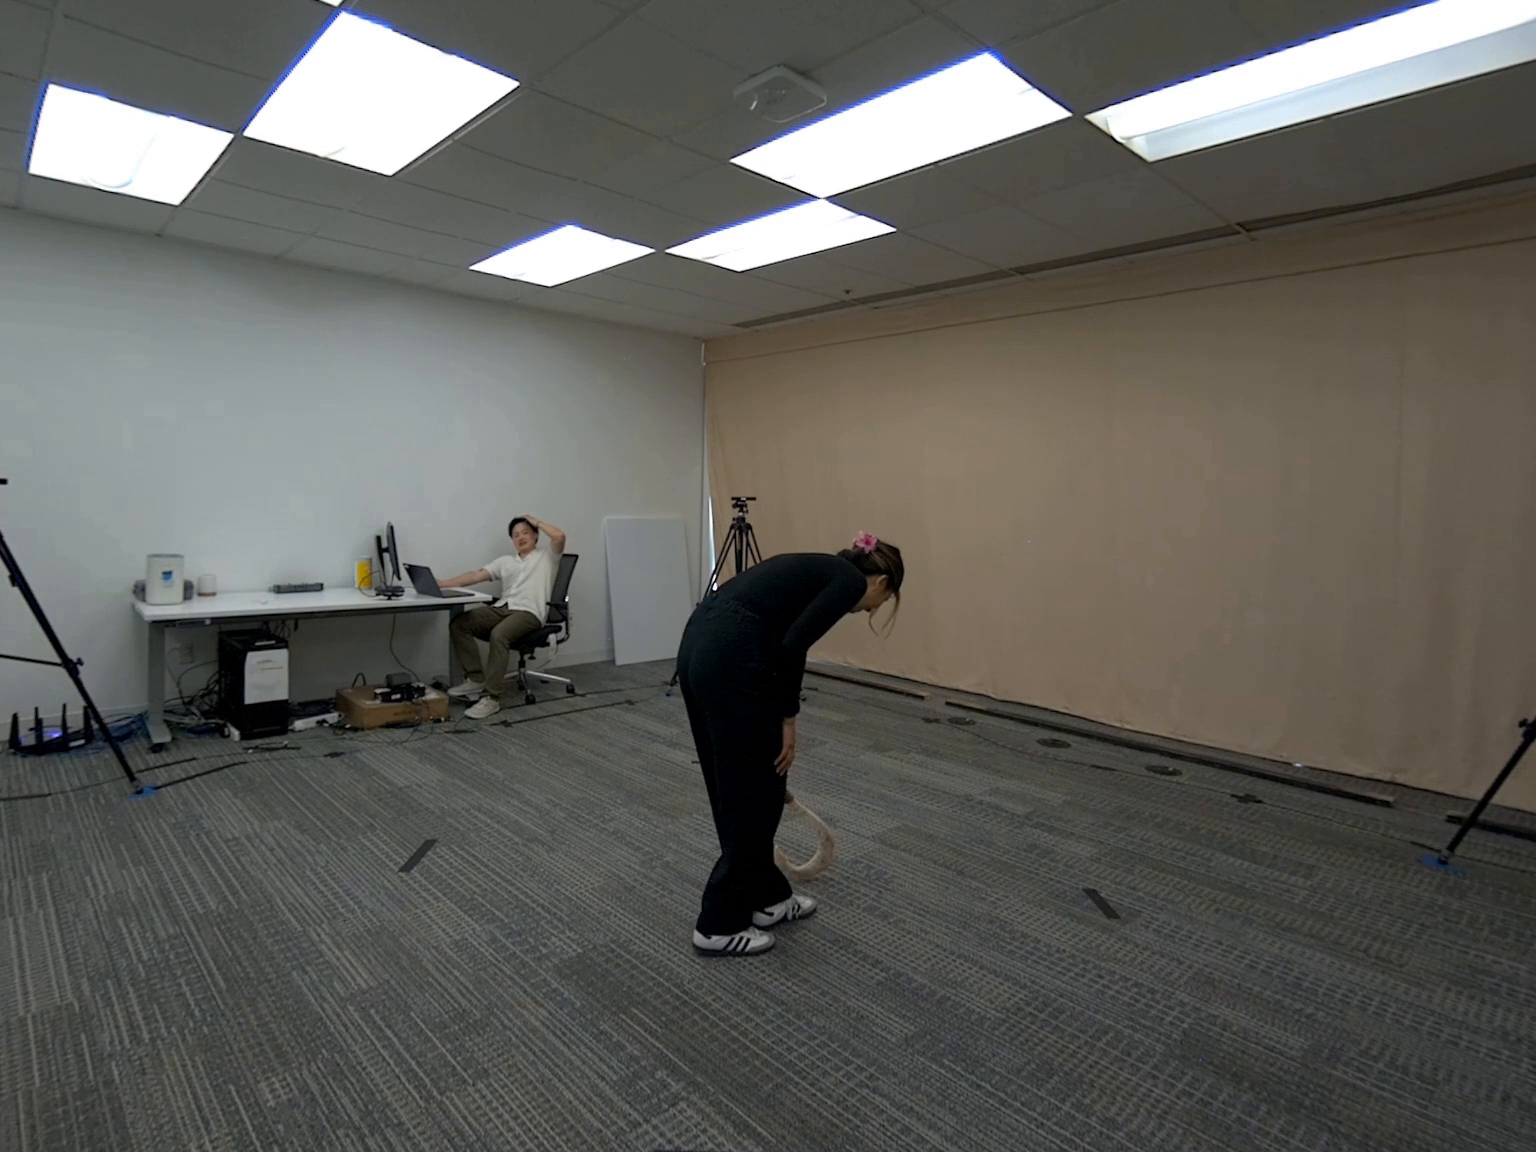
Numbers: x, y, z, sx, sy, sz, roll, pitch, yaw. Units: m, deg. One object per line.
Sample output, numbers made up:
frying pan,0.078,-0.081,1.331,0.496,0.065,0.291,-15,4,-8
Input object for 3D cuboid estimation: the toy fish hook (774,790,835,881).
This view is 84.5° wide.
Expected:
toy fish hook,0.065,0.881,3.049,0.224,0.502,0.049,-33,9,-16
